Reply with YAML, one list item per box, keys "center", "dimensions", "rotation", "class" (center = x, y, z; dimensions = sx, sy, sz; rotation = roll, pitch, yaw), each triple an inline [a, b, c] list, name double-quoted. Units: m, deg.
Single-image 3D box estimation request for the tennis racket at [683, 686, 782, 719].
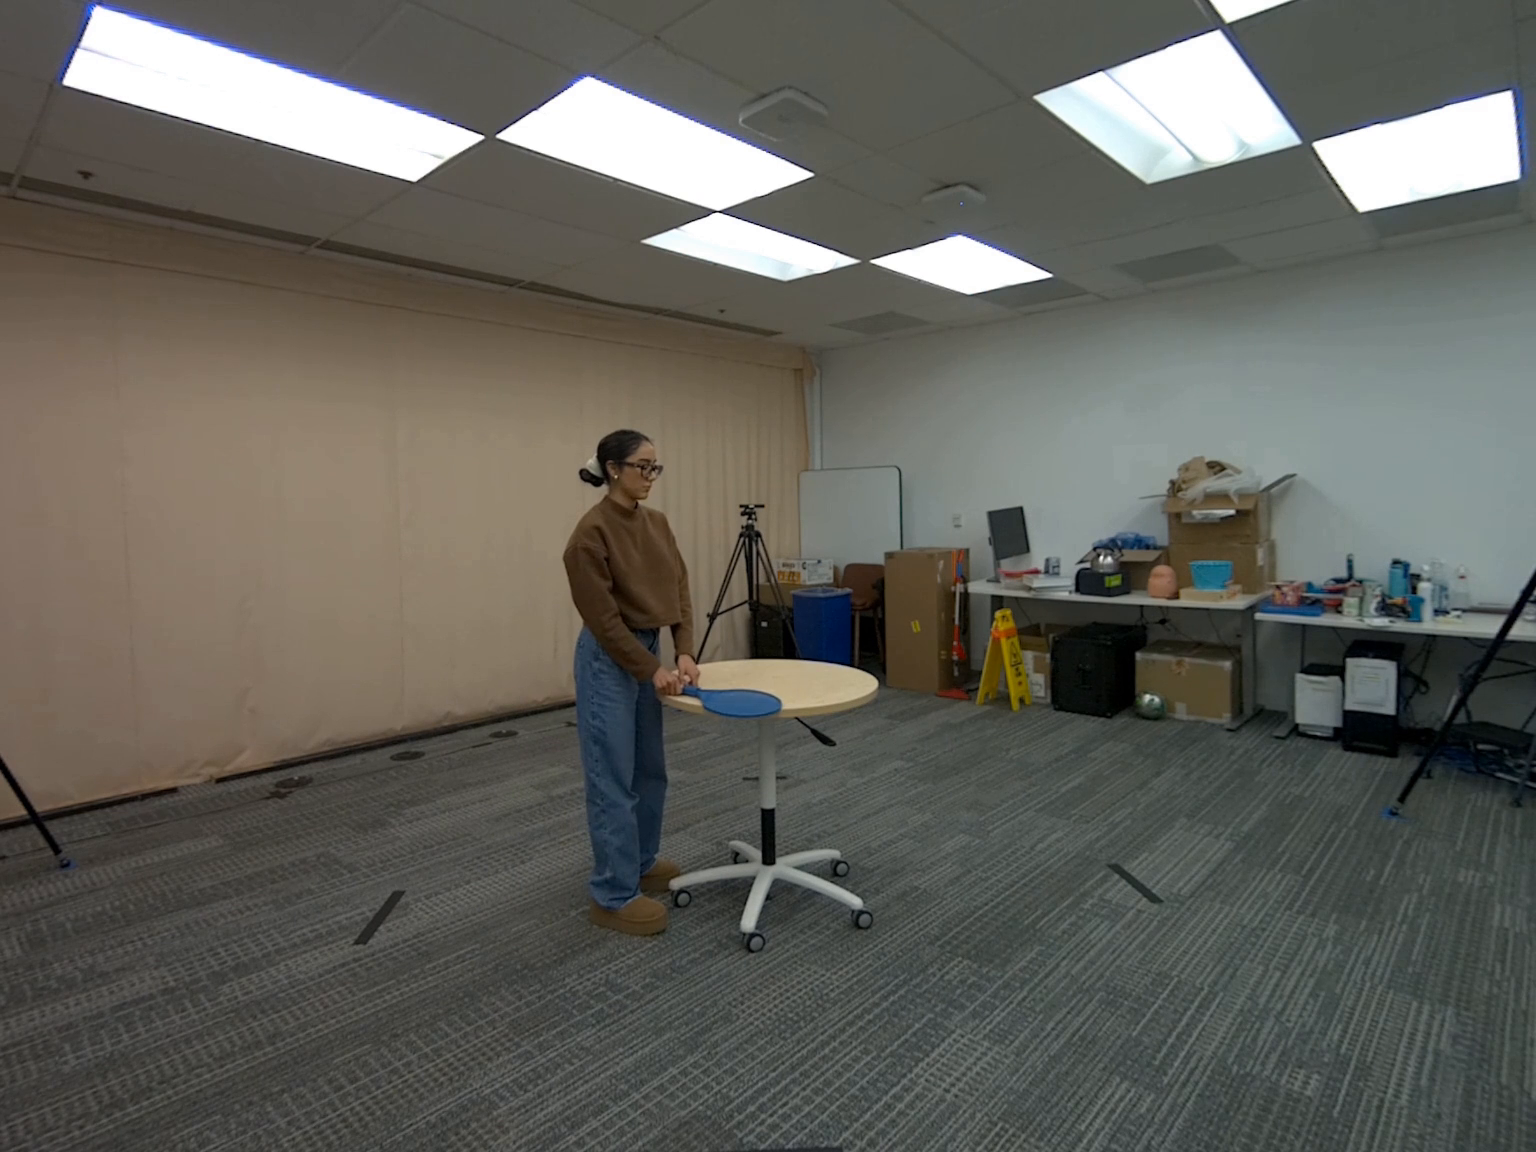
- center: [-0.138, 0.386, 2.619]
  dimensions: [0.447, 0.031, 0.208]
  rotation: [6, 11, 37]
  class: "tennis racket"
